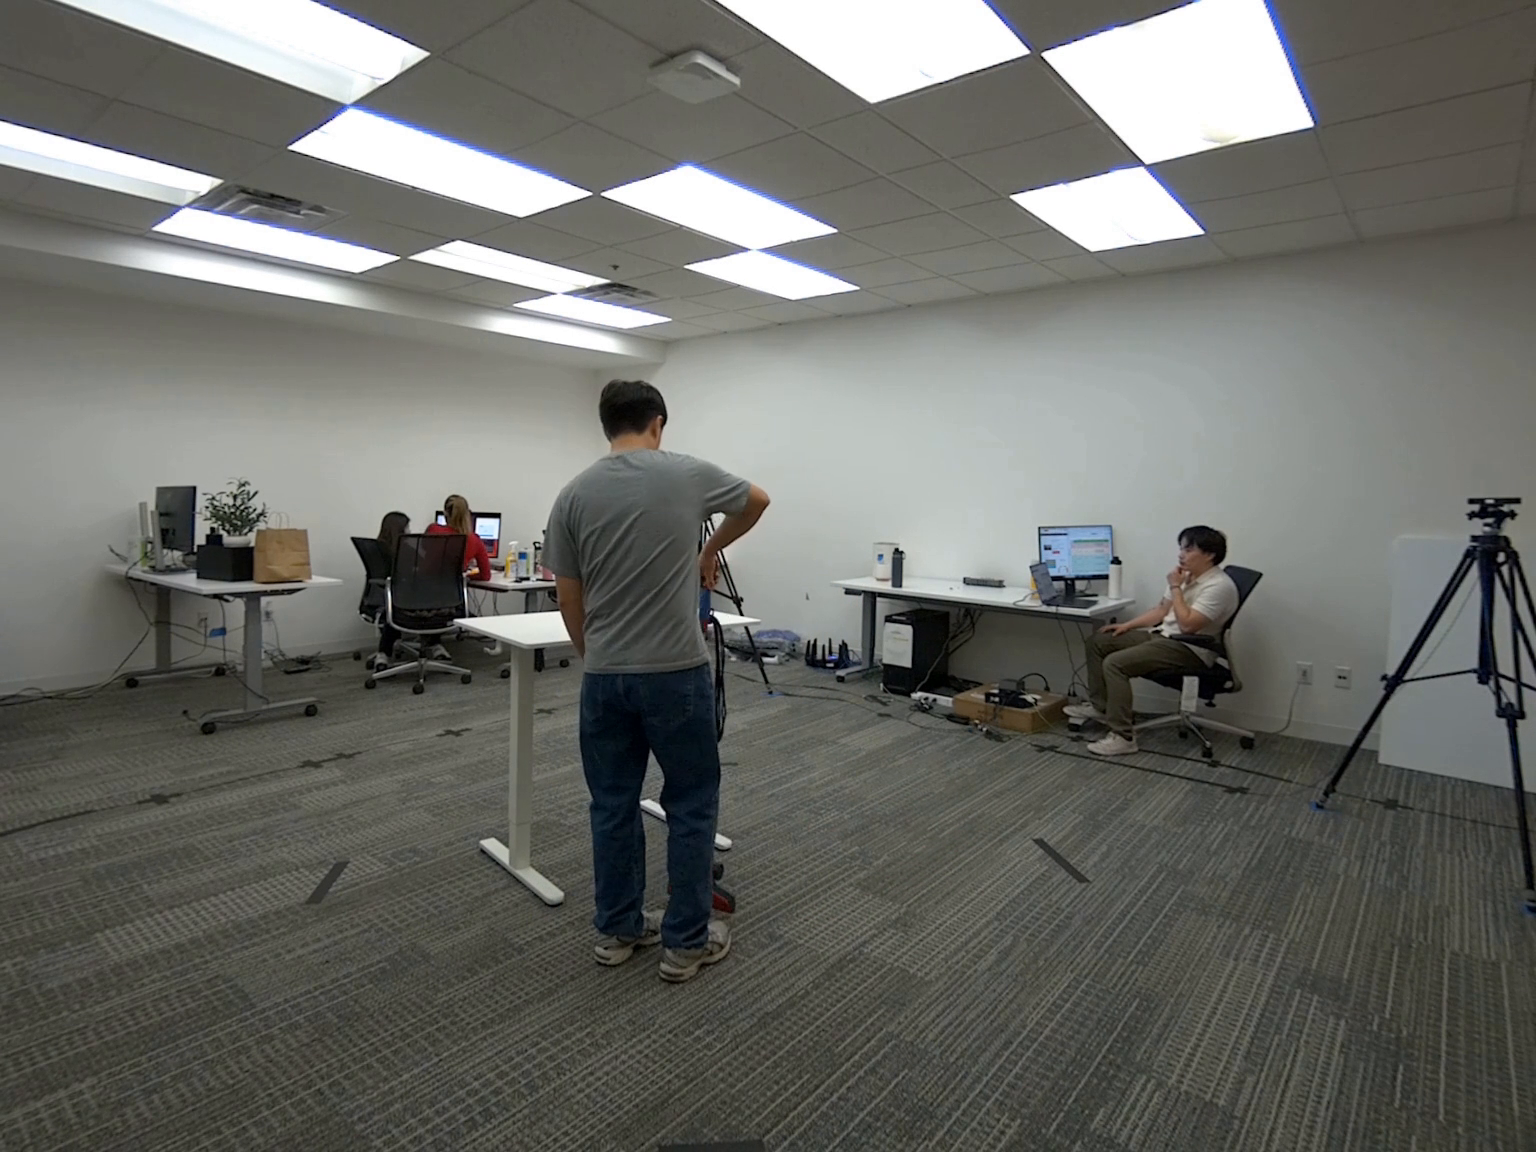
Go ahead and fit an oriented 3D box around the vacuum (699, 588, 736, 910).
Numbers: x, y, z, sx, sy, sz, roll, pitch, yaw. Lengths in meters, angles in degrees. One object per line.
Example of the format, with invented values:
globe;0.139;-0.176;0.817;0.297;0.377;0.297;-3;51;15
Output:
vacuum;-0.207;0.489;2.779;0.139;1.049;0.261;4;1;-44
